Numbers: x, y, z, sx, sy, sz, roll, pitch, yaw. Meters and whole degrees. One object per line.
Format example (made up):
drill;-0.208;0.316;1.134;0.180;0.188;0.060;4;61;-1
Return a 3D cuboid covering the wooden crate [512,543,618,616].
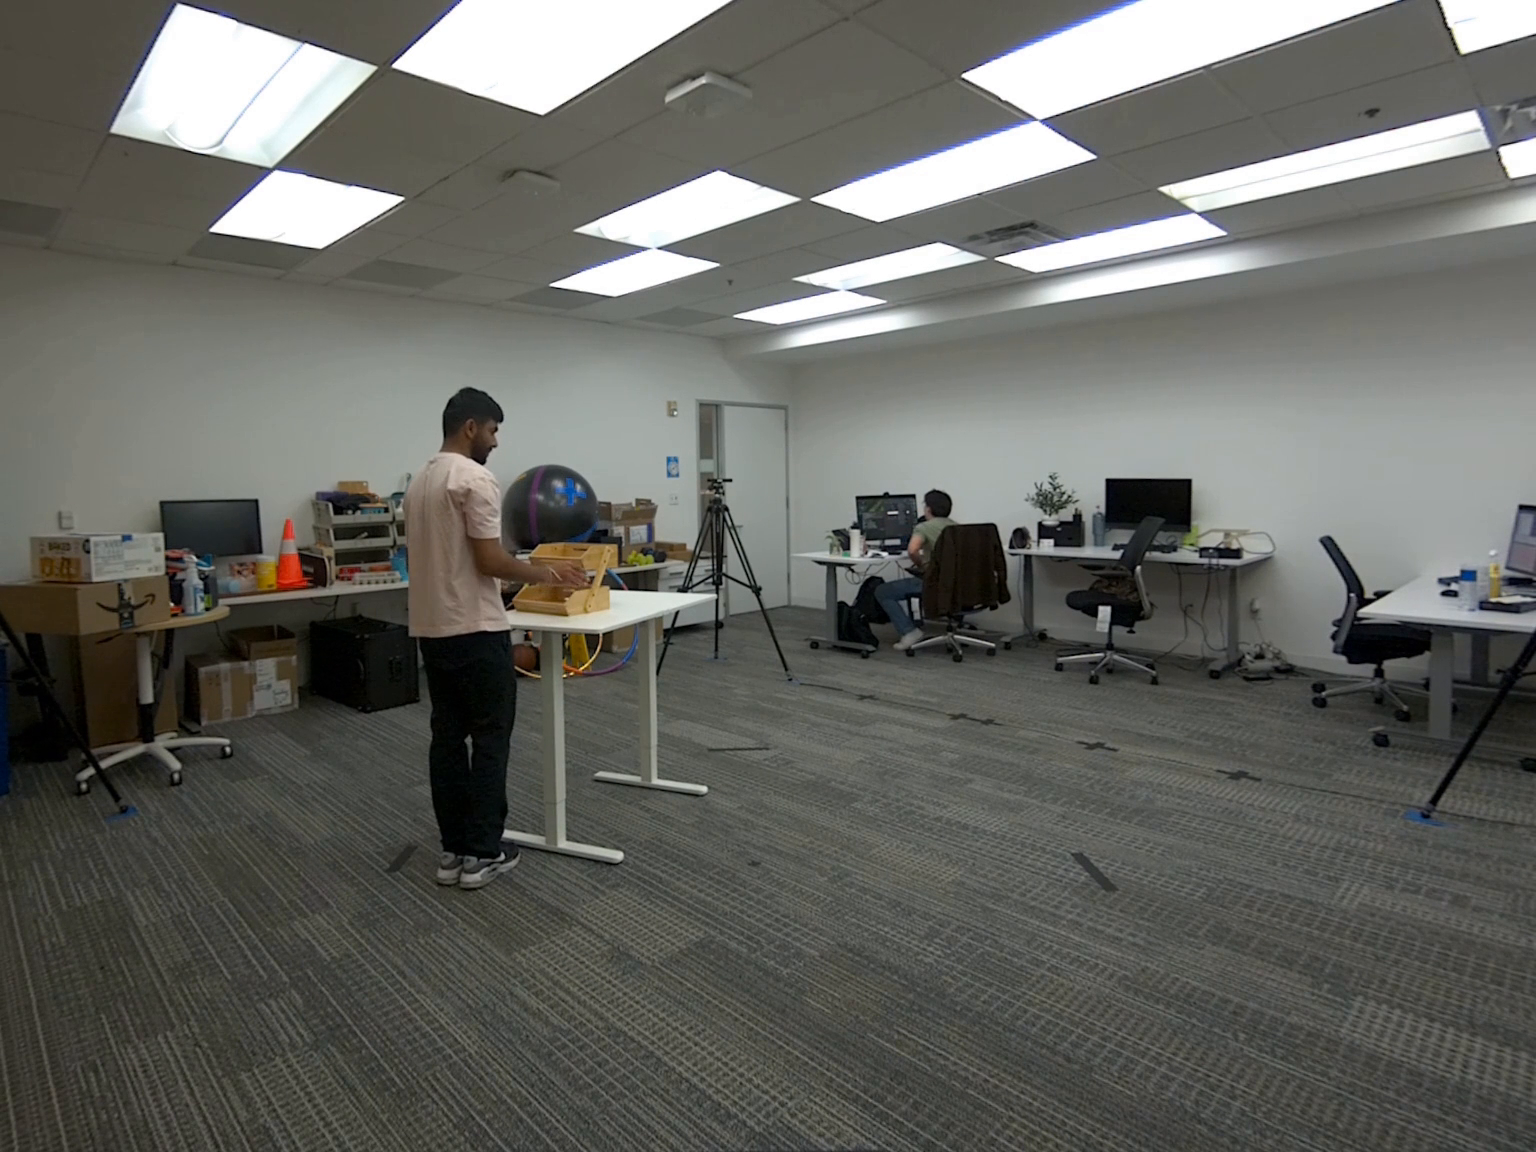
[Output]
wooden crate;-0.820;0.005;3.461;0.333;0.272;0.295;2;5;33
